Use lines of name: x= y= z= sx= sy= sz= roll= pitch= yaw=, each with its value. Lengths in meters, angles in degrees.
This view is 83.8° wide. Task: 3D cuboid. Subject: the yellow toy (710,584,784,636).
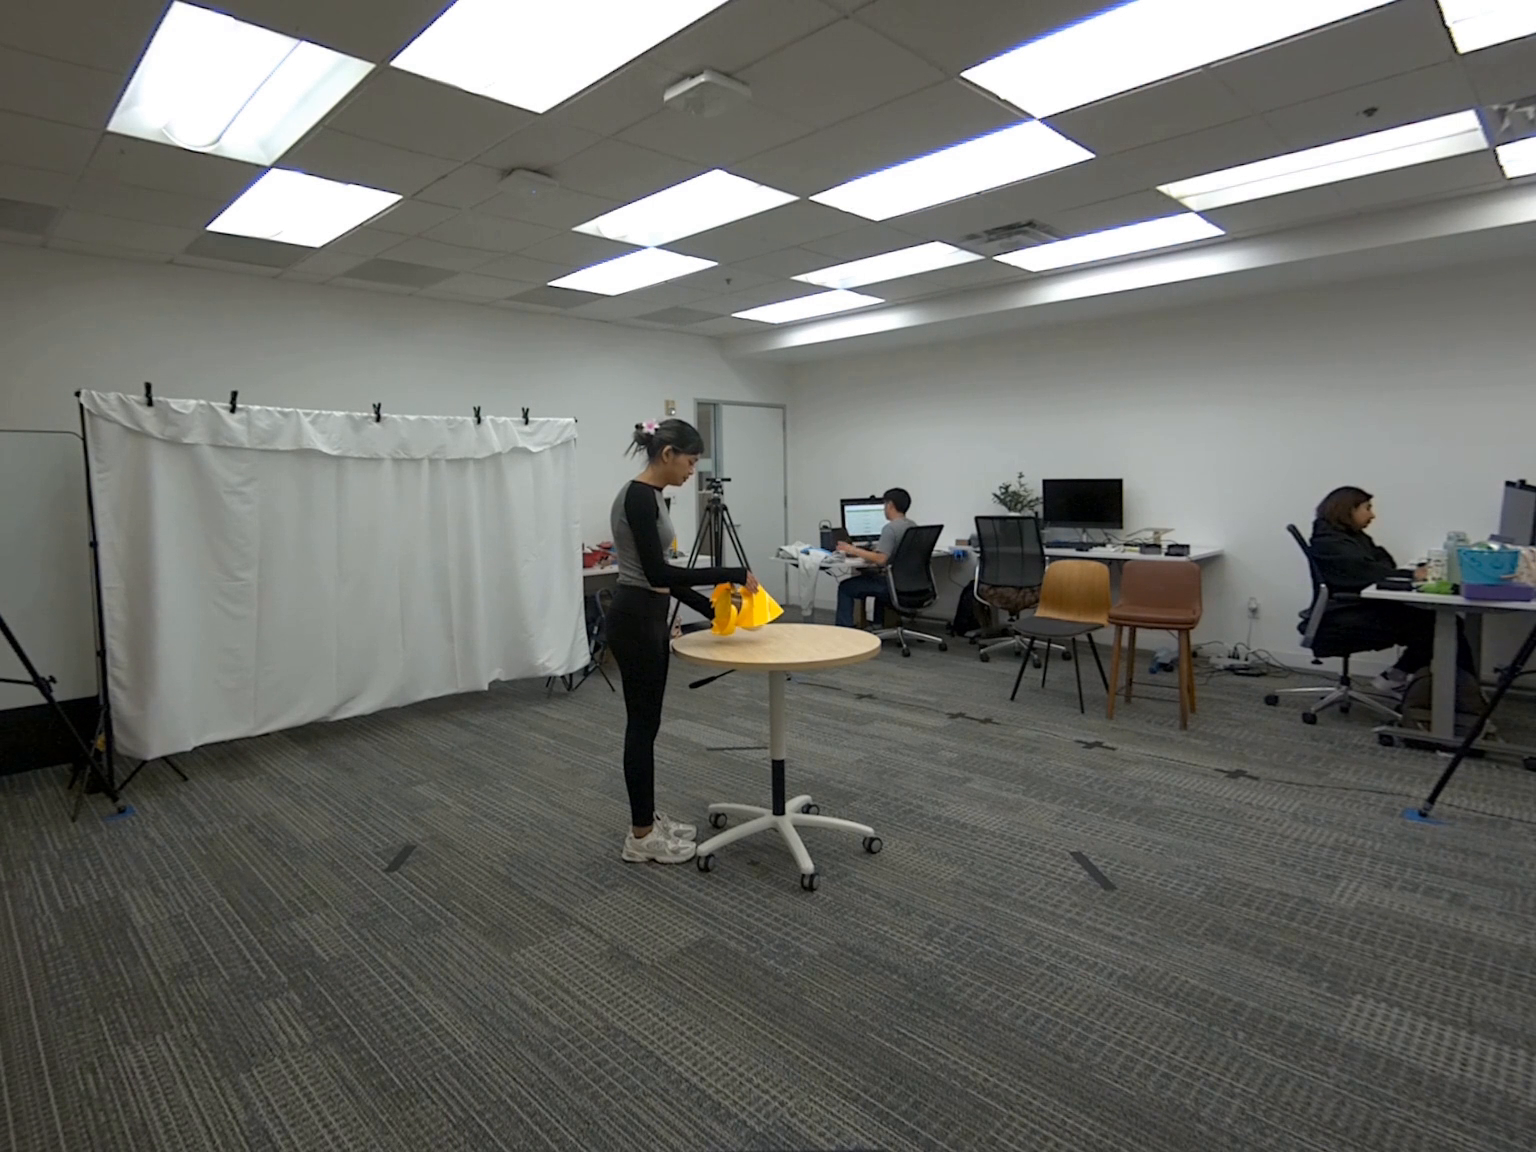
yellow toy: x=-0.074 y=0.134 z=3.167 sx=0.224 sy=0.210 sz=0.193 roll=14 pitch=-33 yaw=-26
